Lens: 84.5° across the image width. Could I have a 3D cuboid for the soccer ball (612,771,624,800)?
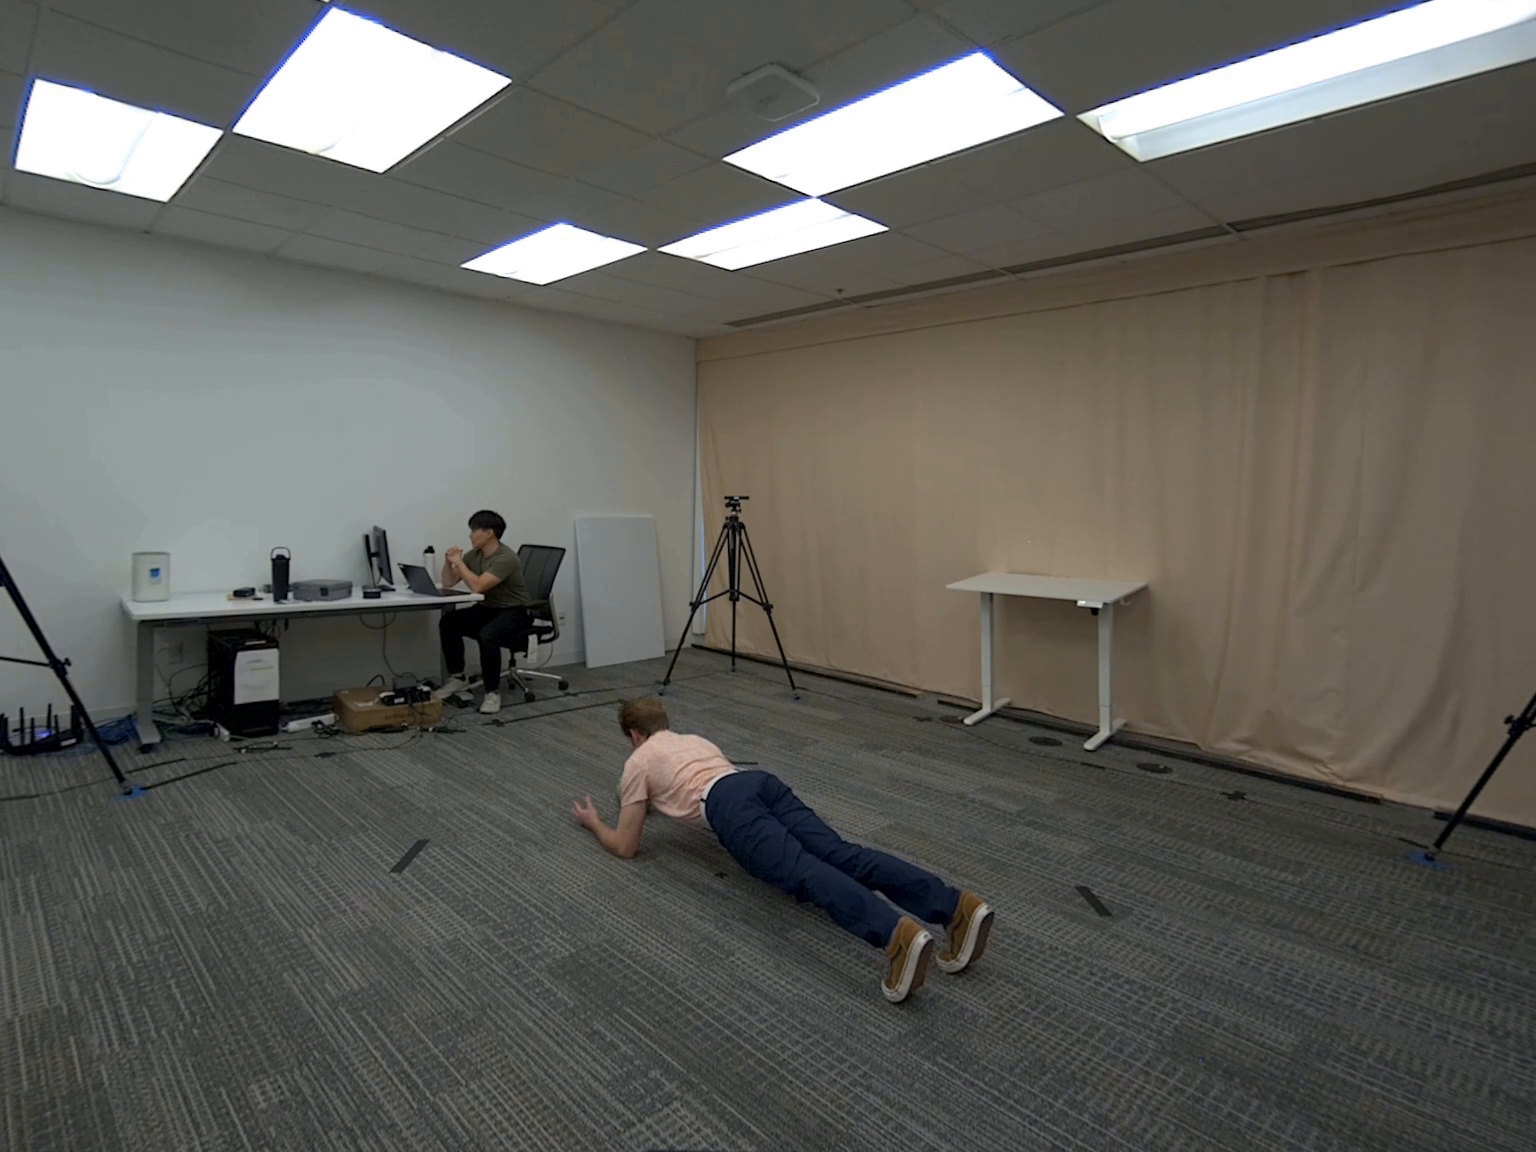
[{"bbox_3d":[-0.587,0.949,3.702,0.187,0.187,0.188,1,4,-1],"label":"soccer ball"}]
